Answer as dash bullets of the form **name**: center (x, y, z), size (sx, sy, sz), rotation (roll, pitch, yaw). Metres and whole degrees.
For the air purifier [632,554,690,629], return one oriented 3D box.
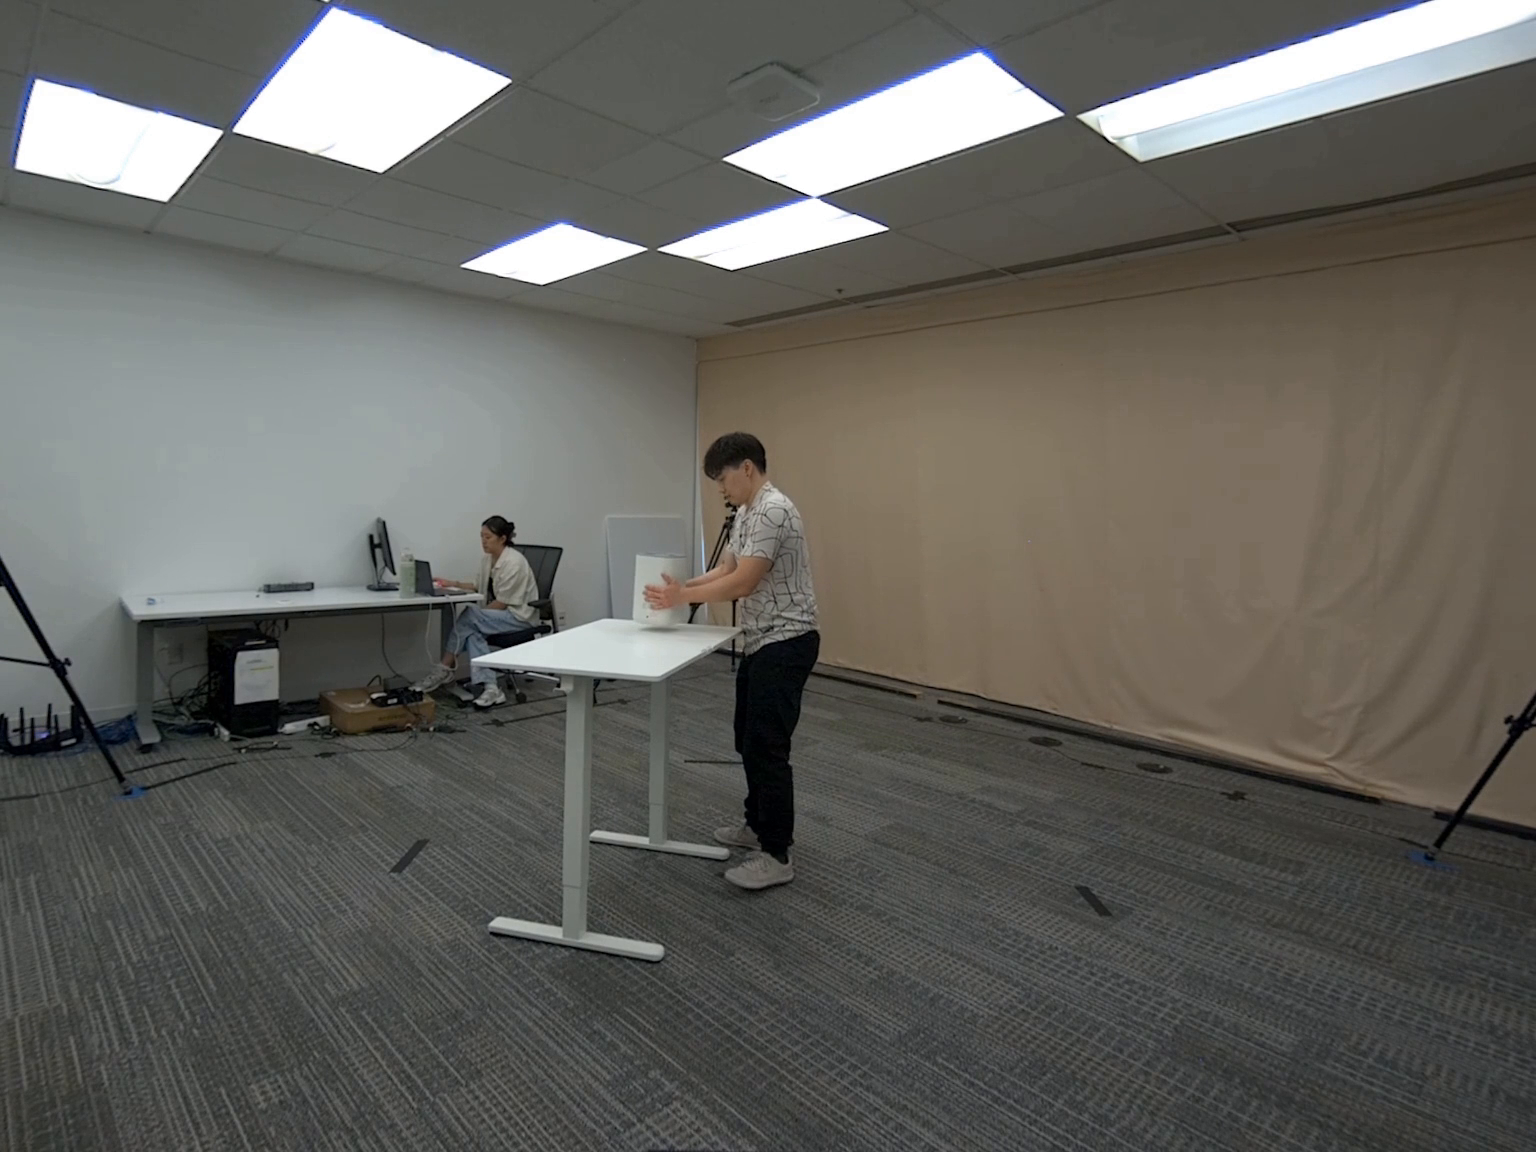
- **air purifier**: center (-0.416, 0.051, 3.207), size (0.173, 0.265, 0.169), rotation (5, 4, 16)
